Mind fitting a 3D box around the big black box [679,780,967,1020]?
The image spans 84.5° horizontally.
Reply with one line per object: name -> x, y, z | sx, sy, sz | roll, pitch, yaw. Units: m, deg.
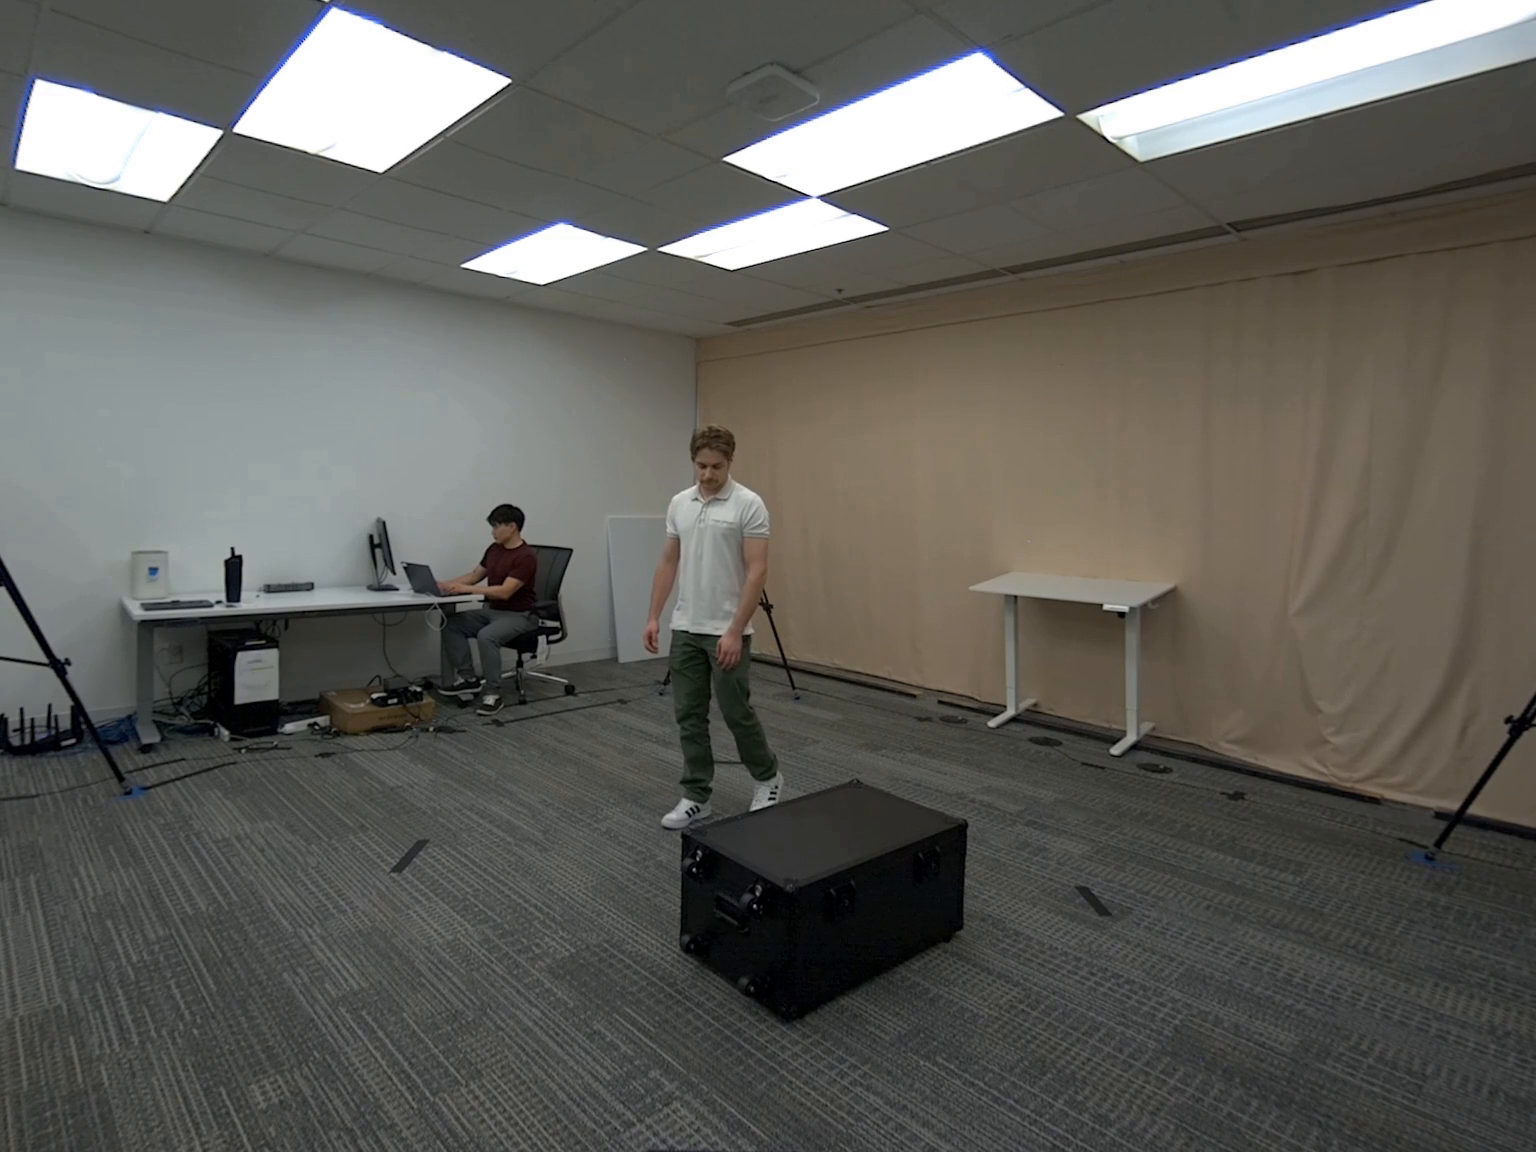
big black box -> 0.156, 0.966, 2.610 | 0.842, 0.395, 0.535 | -2, 6, -42
